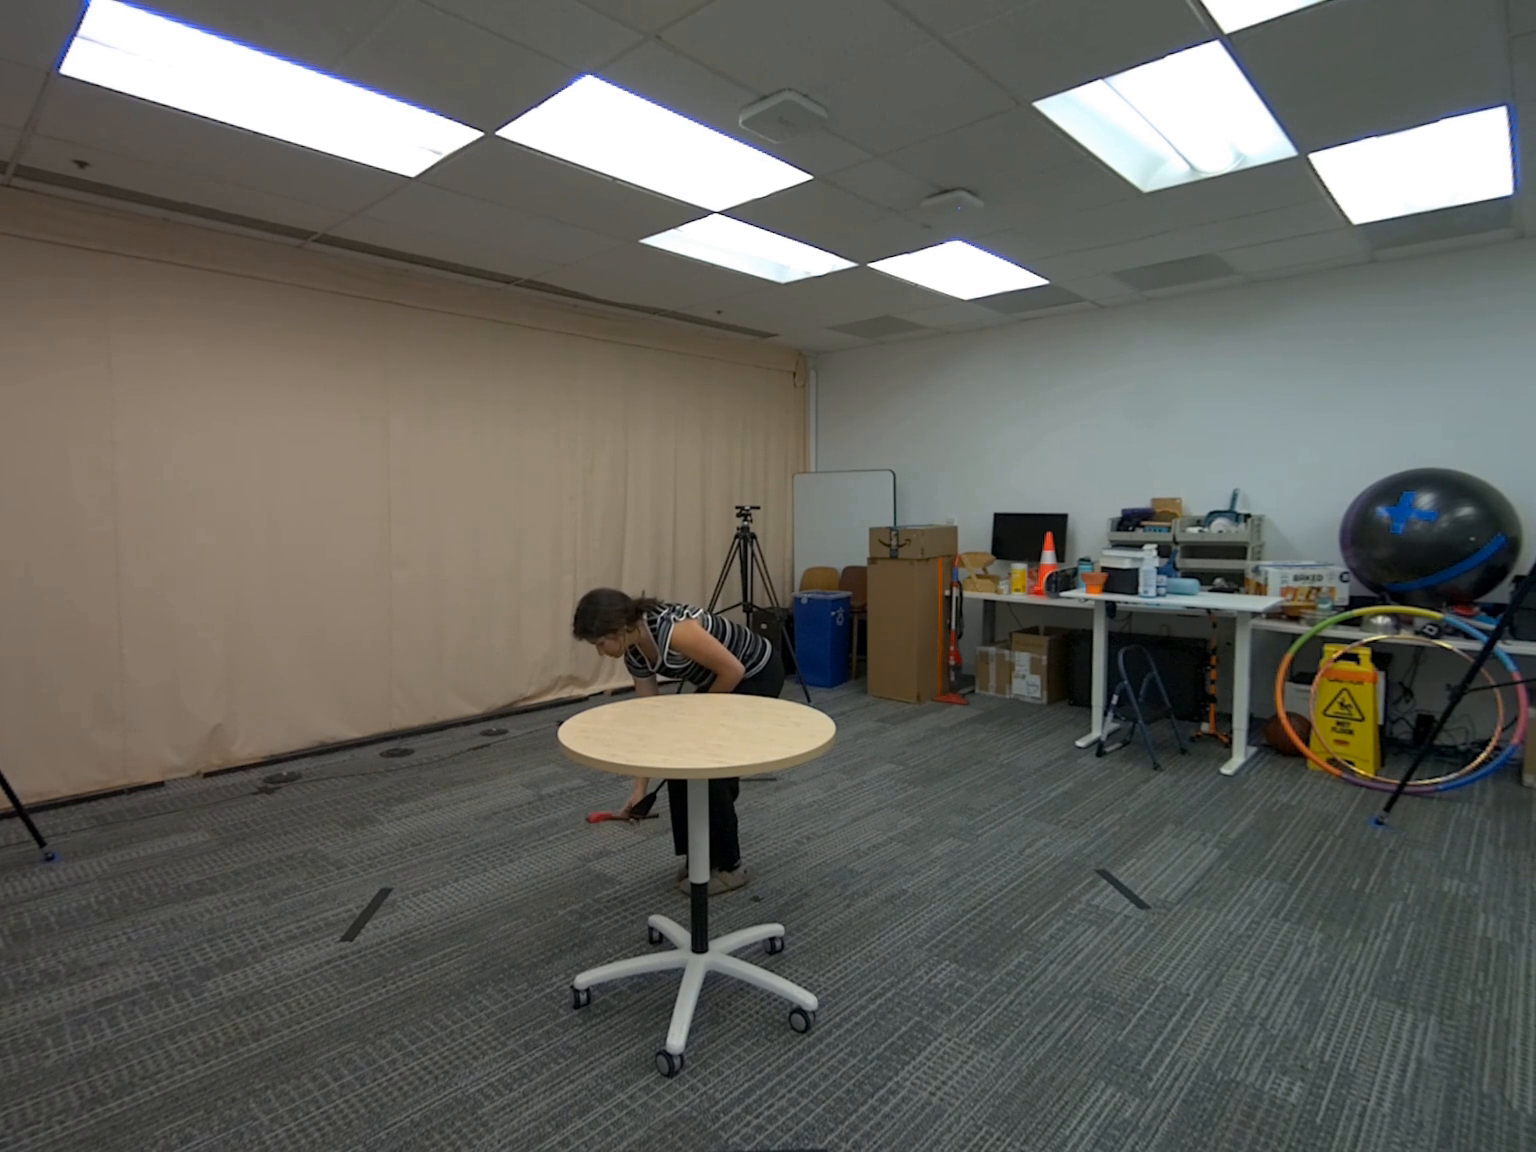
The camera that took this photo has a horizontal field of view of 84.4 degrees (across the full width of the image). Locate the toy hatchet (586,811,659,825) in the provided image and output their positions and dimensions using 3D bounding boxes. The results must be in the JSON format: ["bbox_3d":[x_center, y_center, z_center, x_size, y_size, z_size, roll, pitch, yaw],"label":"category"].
[{"bbox_3d":[-0.511,0.843,2.997,0.267,0.030,0.130,0,-32,-10],"label":"toy hatchet"}]
